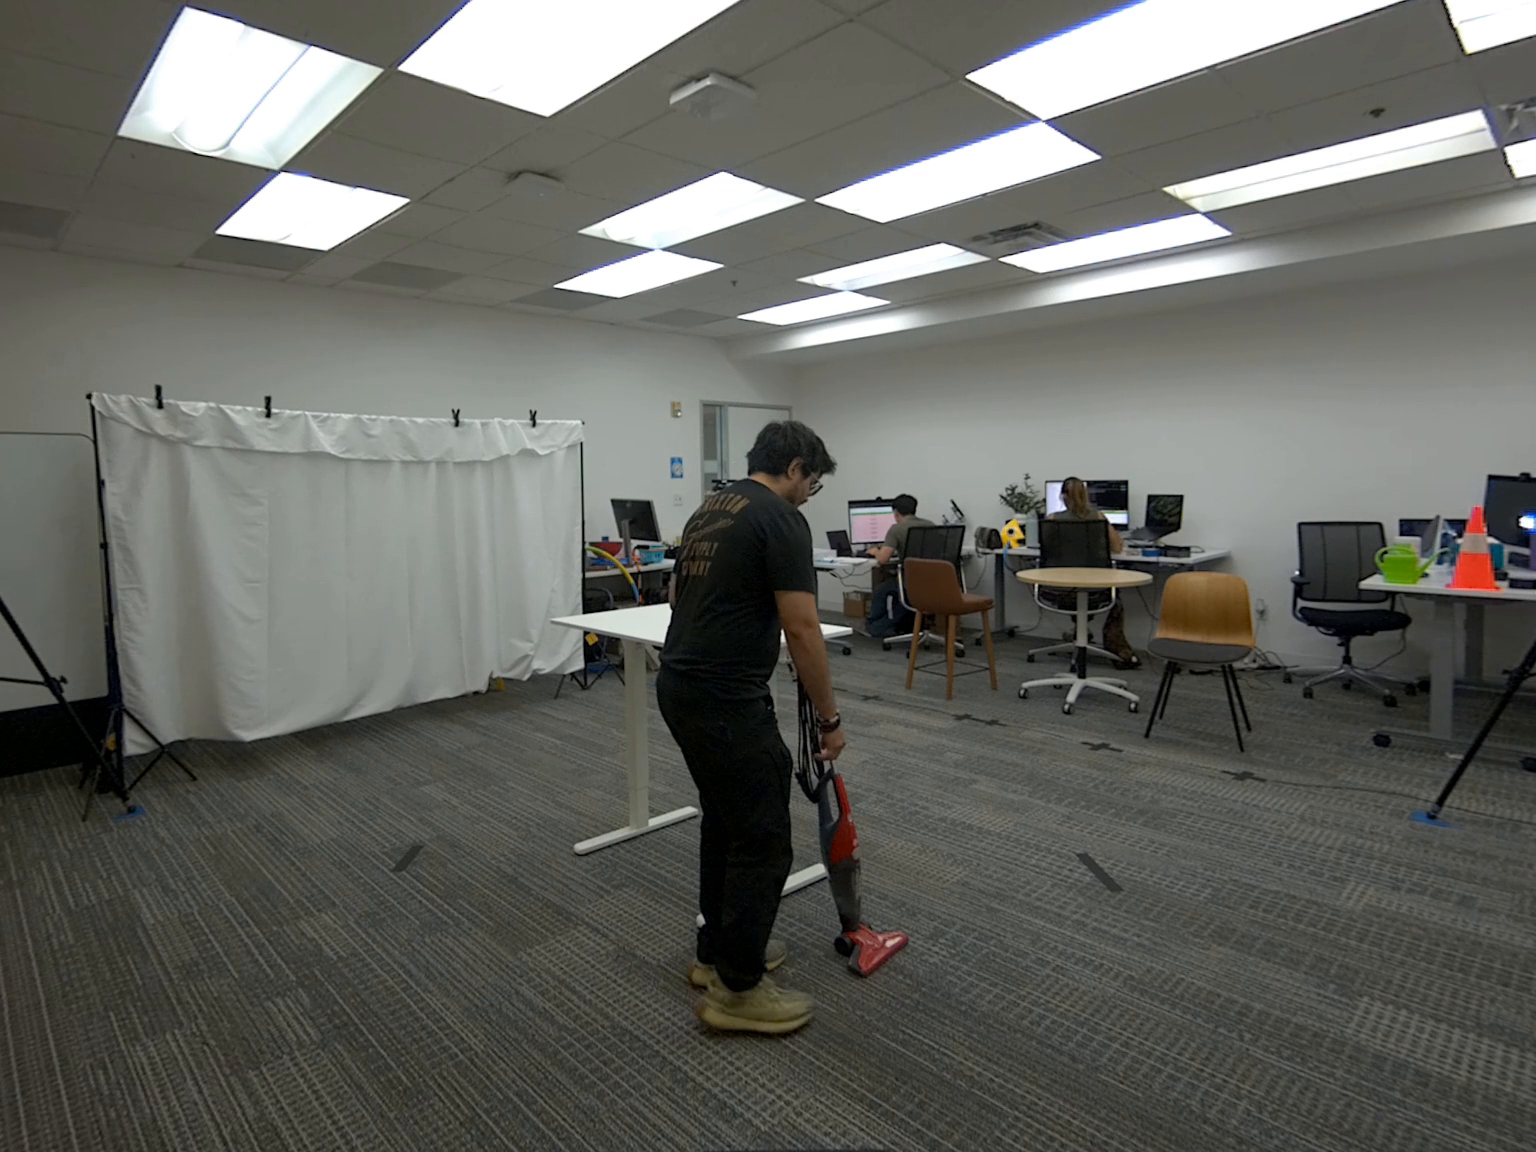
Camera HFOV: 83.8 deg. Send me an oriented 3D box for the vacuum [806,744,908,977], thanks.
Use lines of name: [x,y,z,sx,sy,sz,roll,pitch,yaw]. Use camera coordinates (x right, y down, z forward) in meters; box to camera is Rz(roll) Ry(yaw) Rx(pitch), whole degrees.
vacuum: [0.177,0.600,2.590,0.146,1.059,0.246,-20,-10,37]
